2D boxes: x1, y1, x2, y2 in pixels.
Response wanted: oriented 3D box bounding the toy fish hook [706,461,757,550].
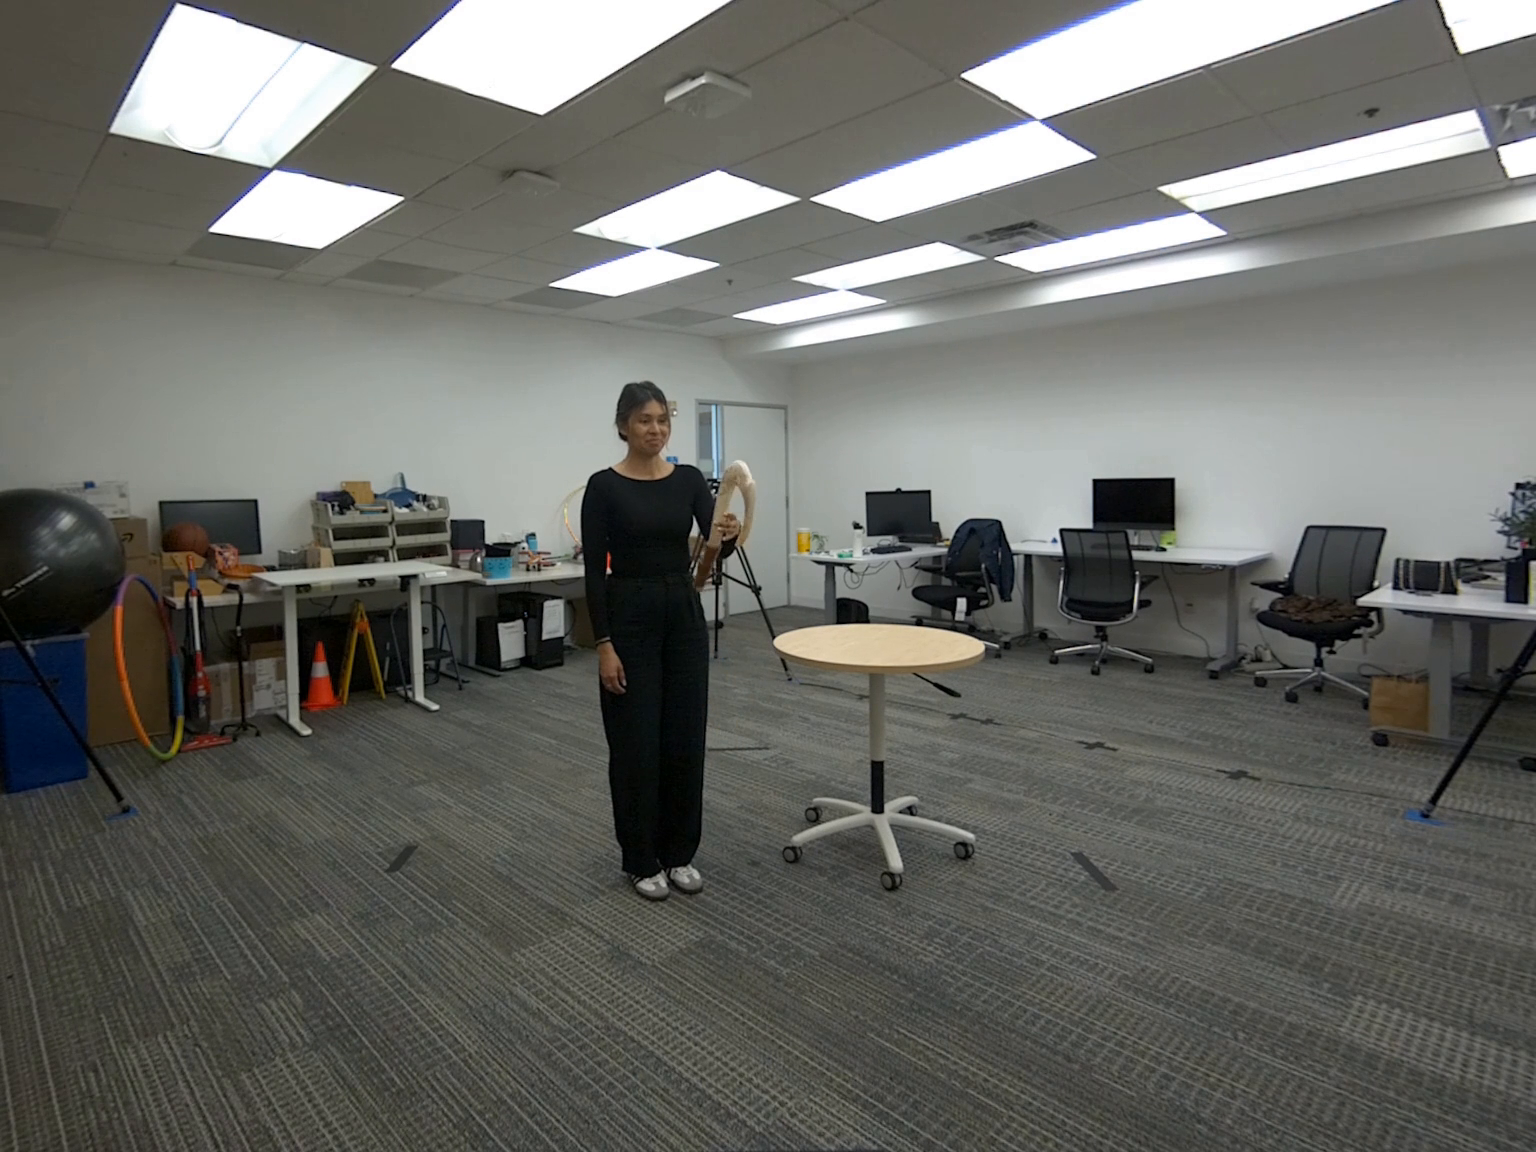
[{"bbox_3d":[-0.133,-0.055,2.474,0.047,0.499,0.232,3,42,-21],"label":"toy fish hook"}]
